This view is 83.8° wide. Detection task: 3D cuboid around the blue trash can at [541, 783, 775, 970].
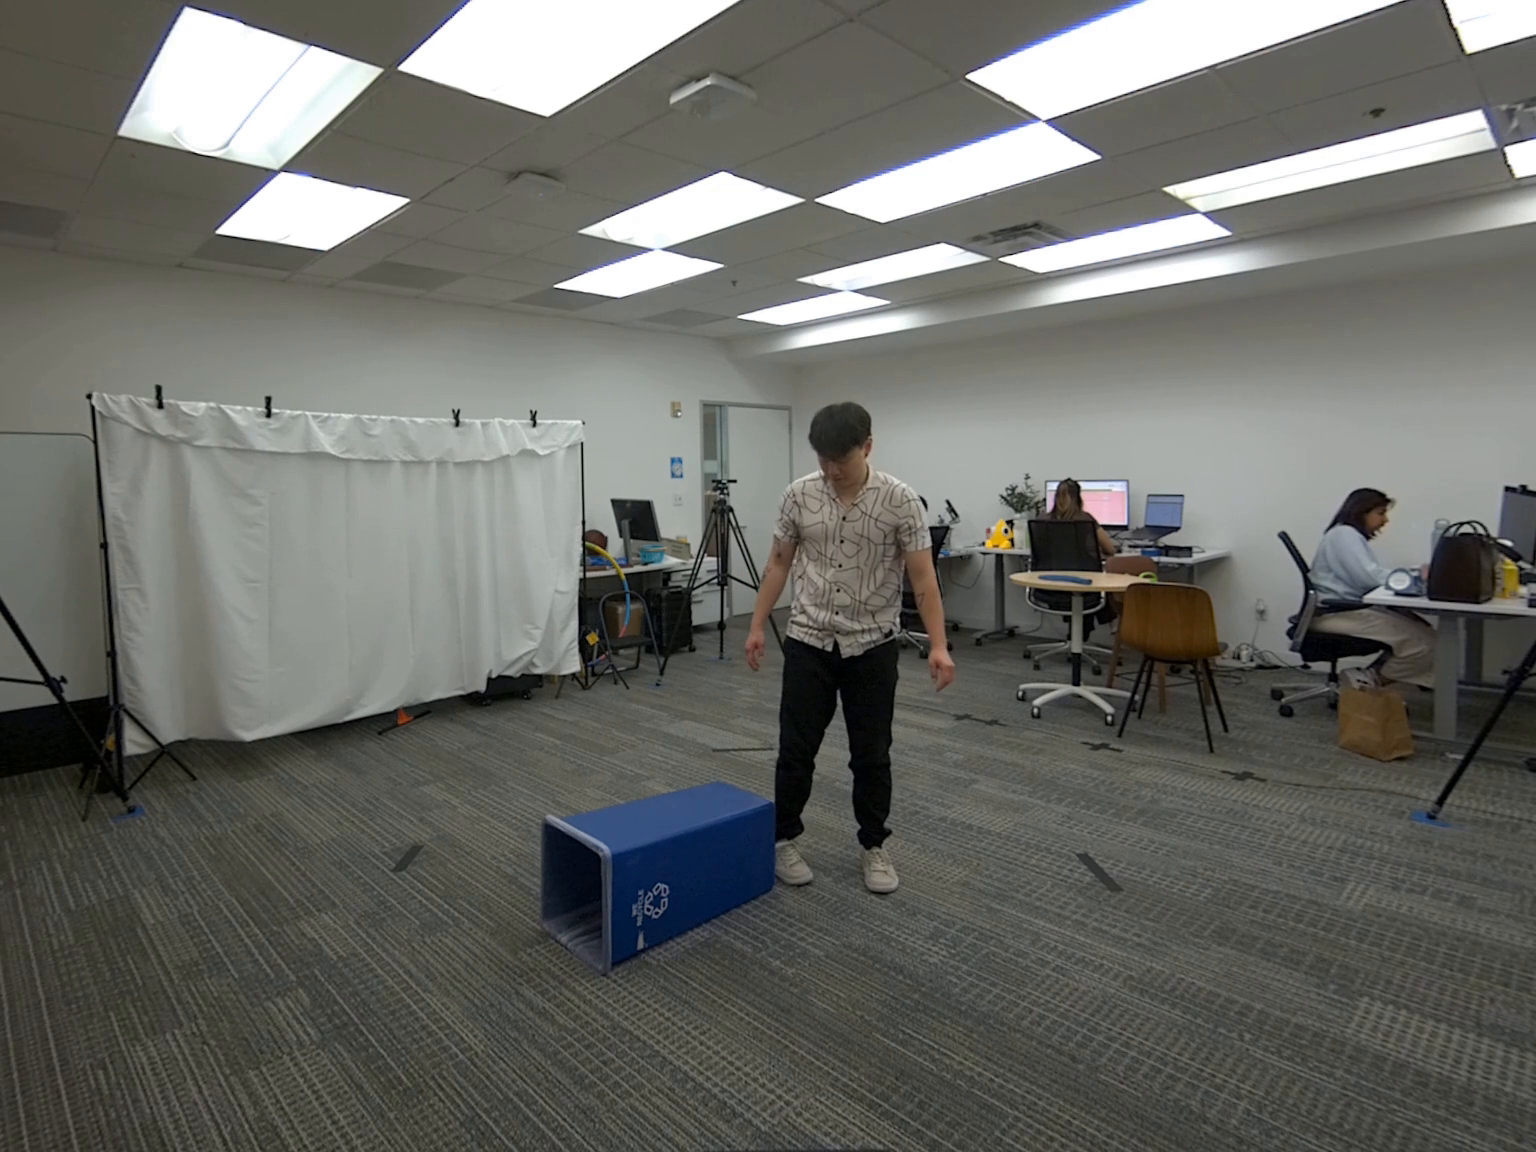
[{"bbox_3d":[-0.325,0.918,2.777,0.694,0.377,0.385,-4,6,-42],"label":"blue trash can"}]
